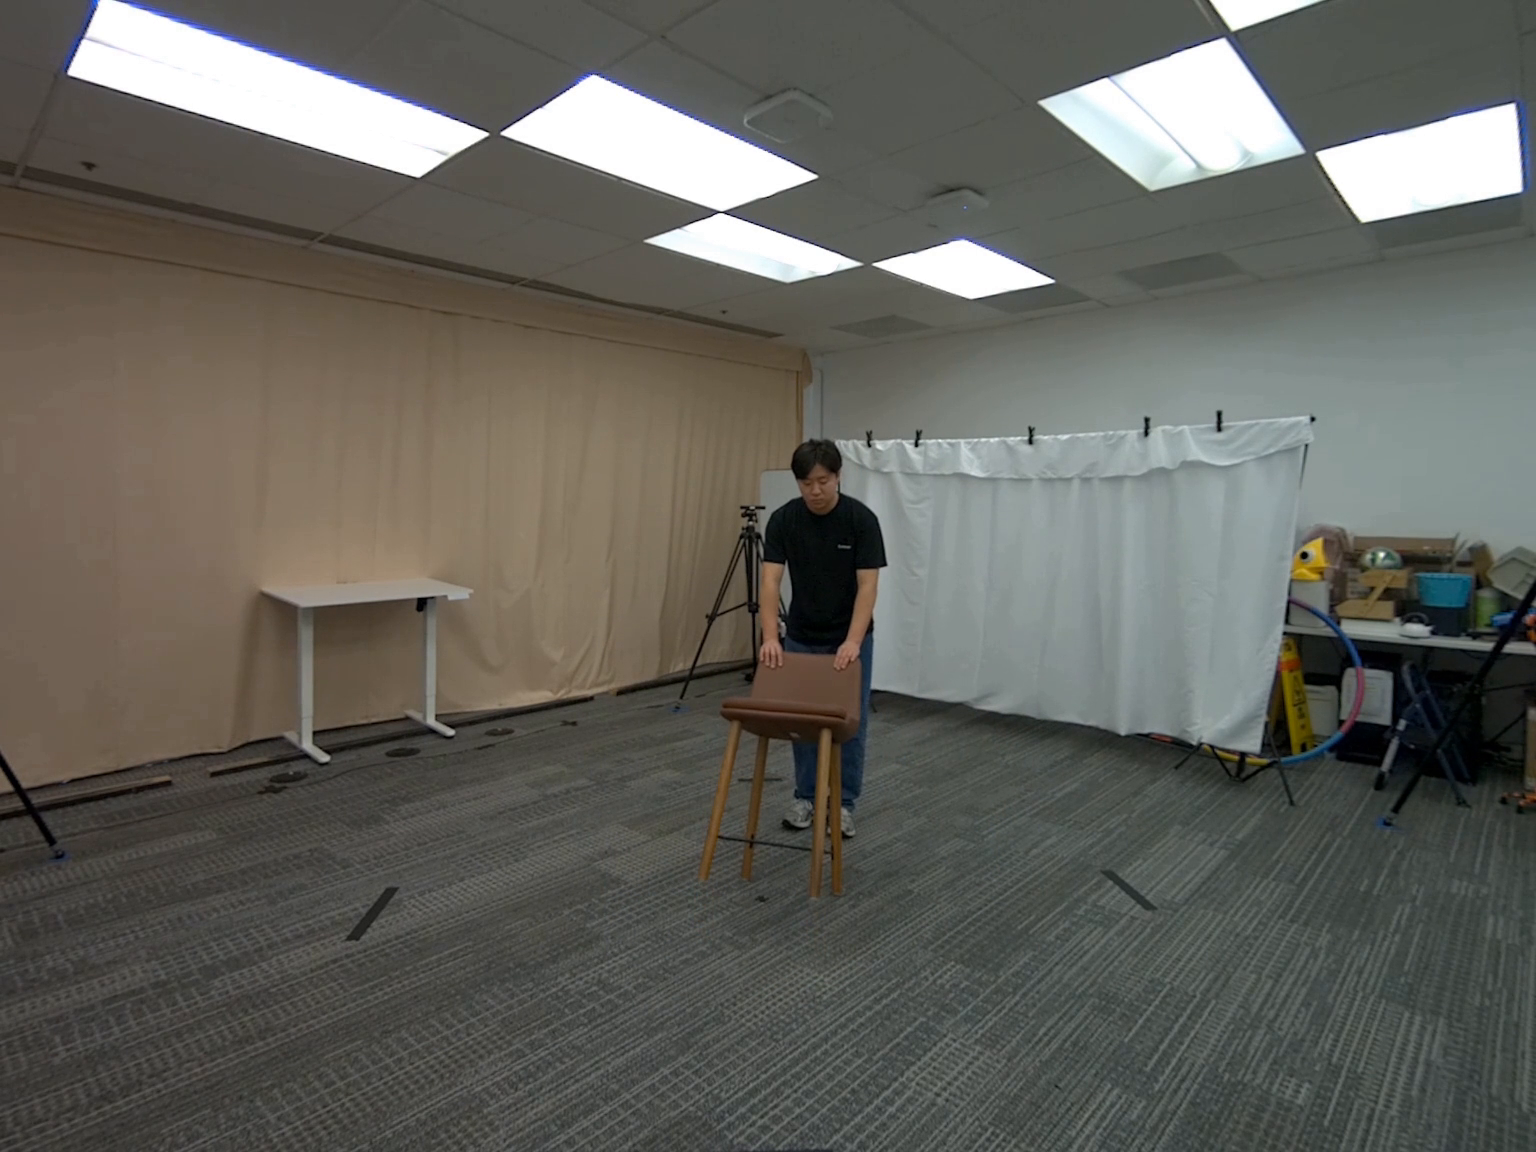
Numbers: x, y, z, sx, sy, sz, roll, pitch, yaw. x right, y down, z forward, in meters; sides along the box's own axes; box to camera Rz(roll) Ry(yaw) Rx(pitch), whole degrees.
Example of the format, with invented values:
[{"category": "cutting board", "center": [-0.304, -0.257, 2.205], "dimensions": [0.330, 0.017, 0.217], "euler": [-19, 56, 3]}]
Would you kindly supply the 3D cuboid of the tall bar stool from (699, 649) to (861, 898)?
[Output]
[{"category": "tall bar stool", "center": [0.076, 0.658, 3.026], "dimensions": [0.466, 0.897, 0.453], "euler": [1, -21, 20]}]
